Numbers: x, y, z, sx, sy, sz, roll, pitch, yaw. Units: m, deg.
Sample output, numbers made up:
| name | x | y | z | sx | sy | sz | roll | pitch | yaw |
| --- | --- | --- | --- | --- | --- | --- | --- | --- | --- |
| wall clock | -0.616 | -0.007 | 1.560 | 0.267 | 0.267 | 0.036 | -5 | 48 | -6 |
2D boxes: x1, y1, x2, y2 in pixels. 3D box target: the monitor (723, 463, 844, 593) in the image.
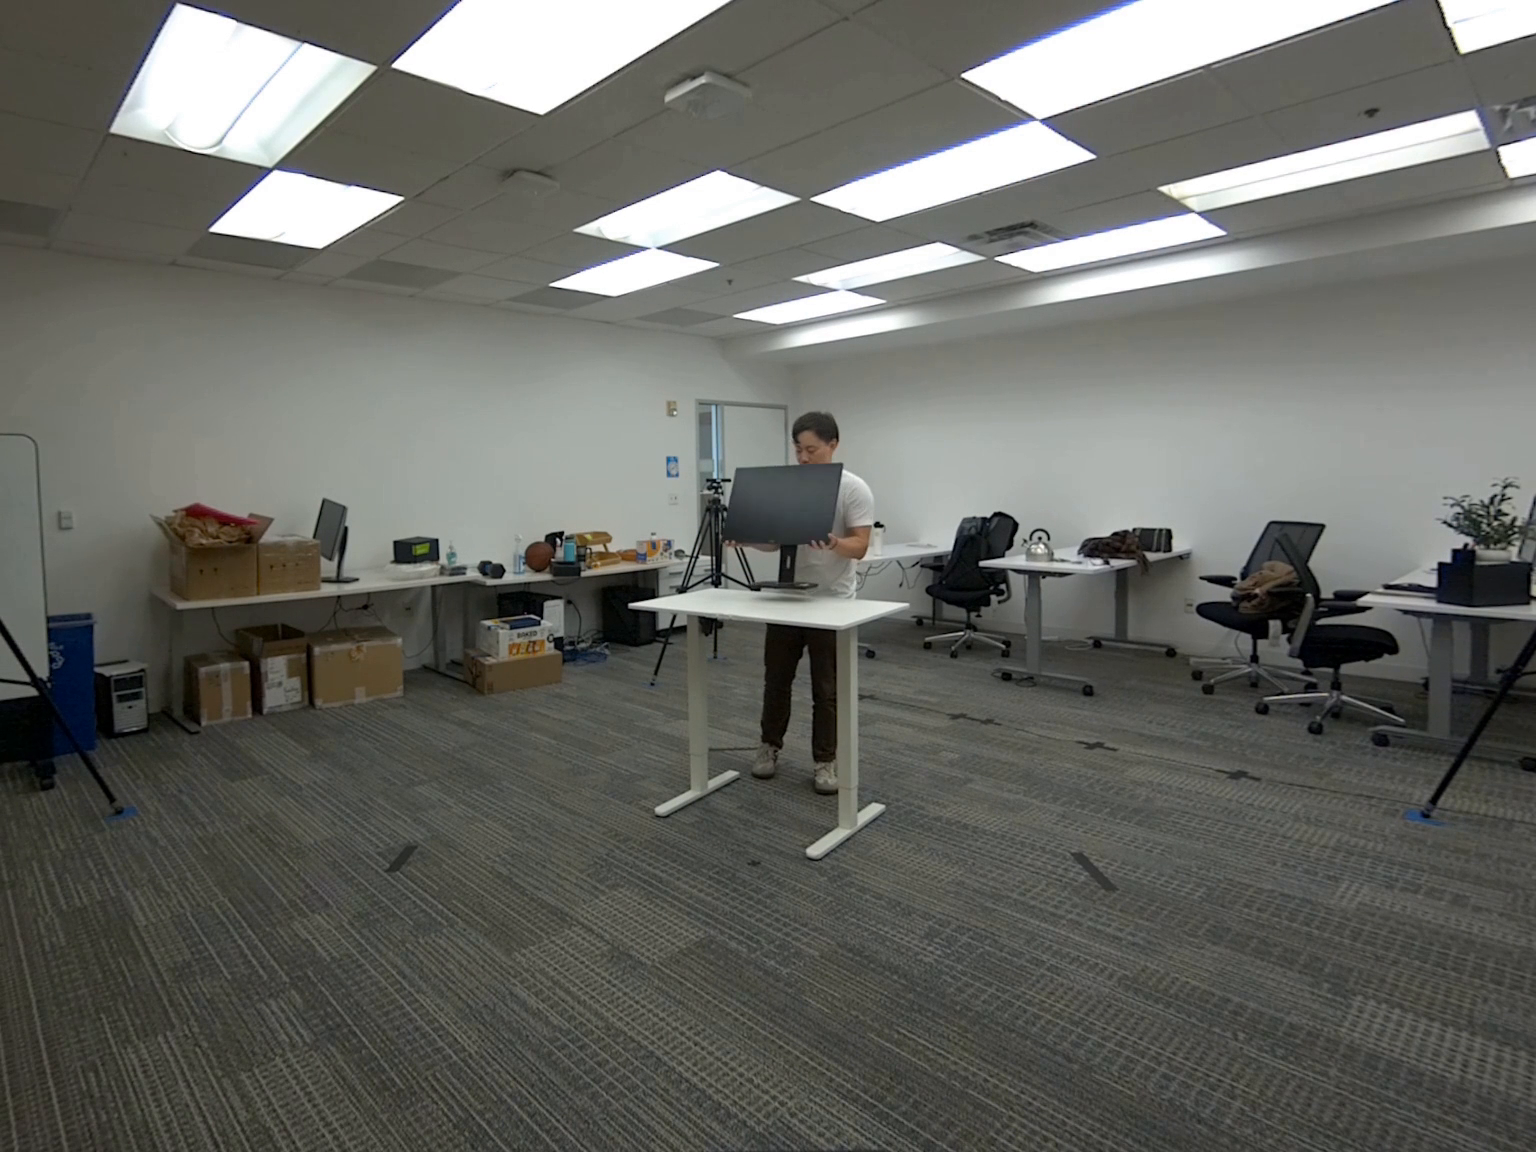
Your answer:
| name | x | y | z | sx | sy | sz | roll | pitch | yaw |
| --- | --- | --- | --- | --- | --- | --- | --- | --- | --- |
| monitor | 0.063 | -0.210 | 3.631 | 0.554 | 0.523 | 0.182 | 1 | -2 | 34 |
